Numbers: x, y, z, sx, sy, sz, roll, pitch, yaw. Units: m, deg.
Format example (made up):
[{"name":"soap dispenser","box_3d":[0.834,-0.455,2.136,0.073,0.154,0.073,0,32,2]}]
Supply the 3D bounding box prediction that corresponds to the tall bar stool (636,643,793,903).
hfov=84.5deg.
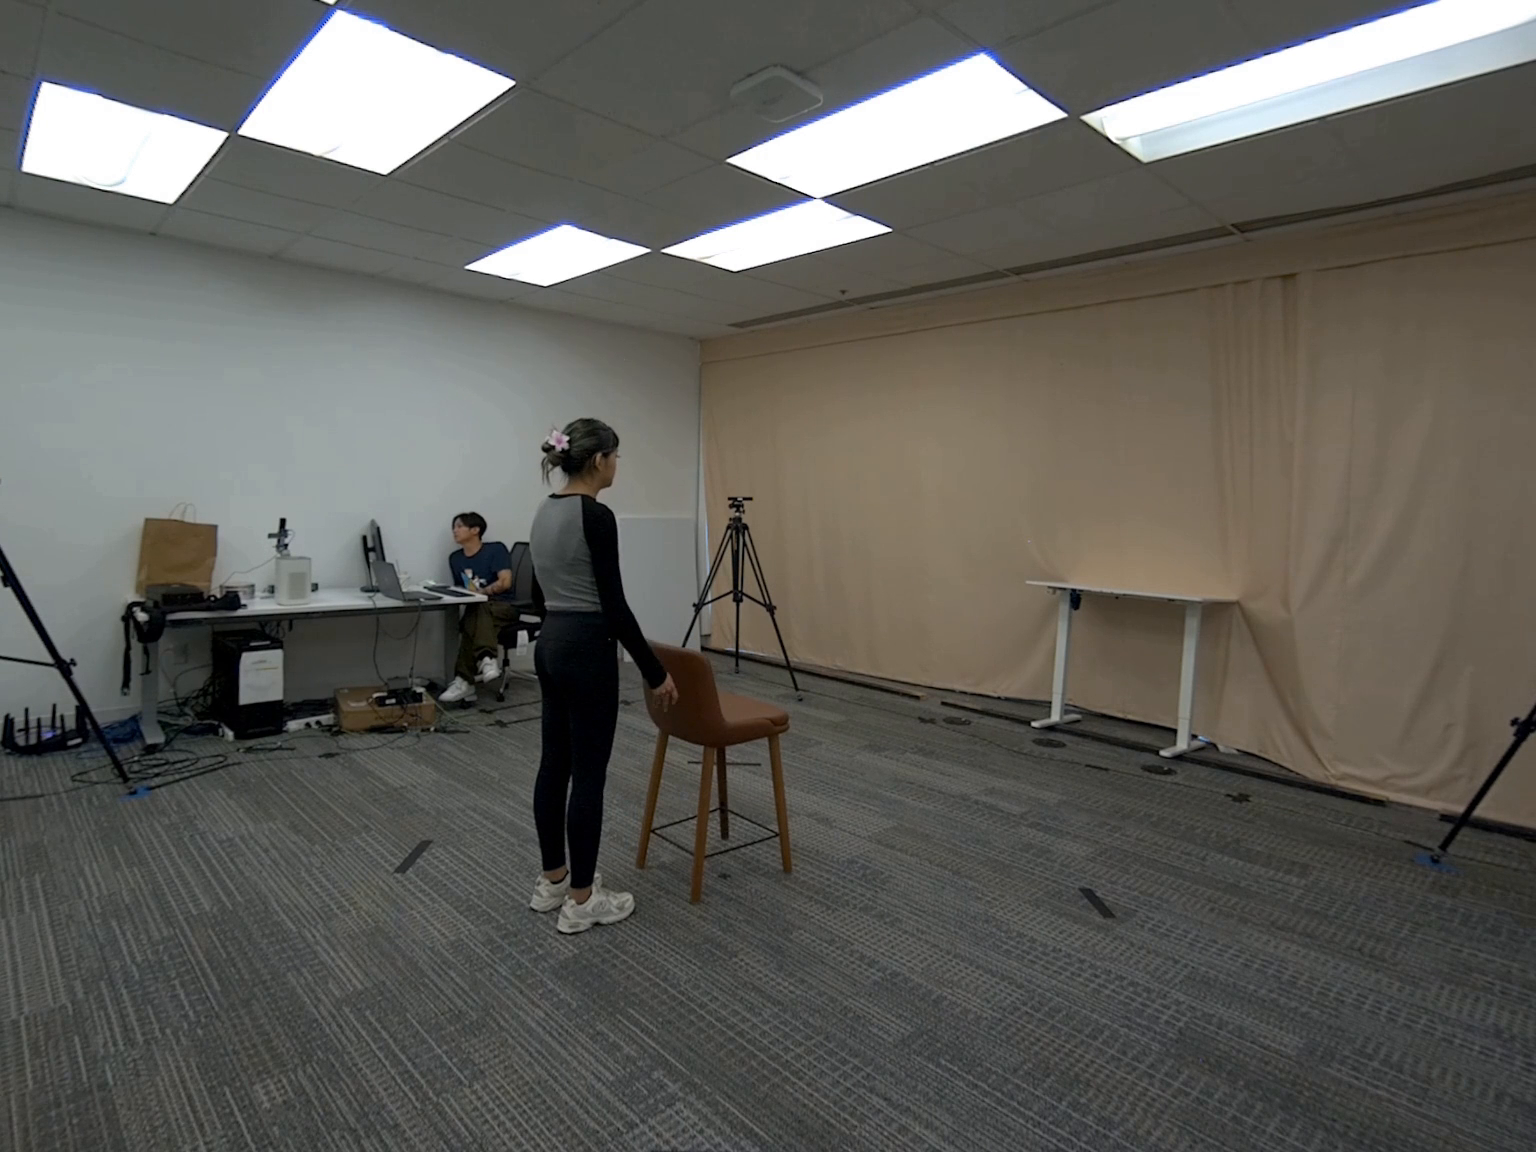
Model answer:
[{"name":"tall bar stool","box_3d":[-0.214,0.666,3.138,0.457,0.887,0.468,-4,5,-40]}]
